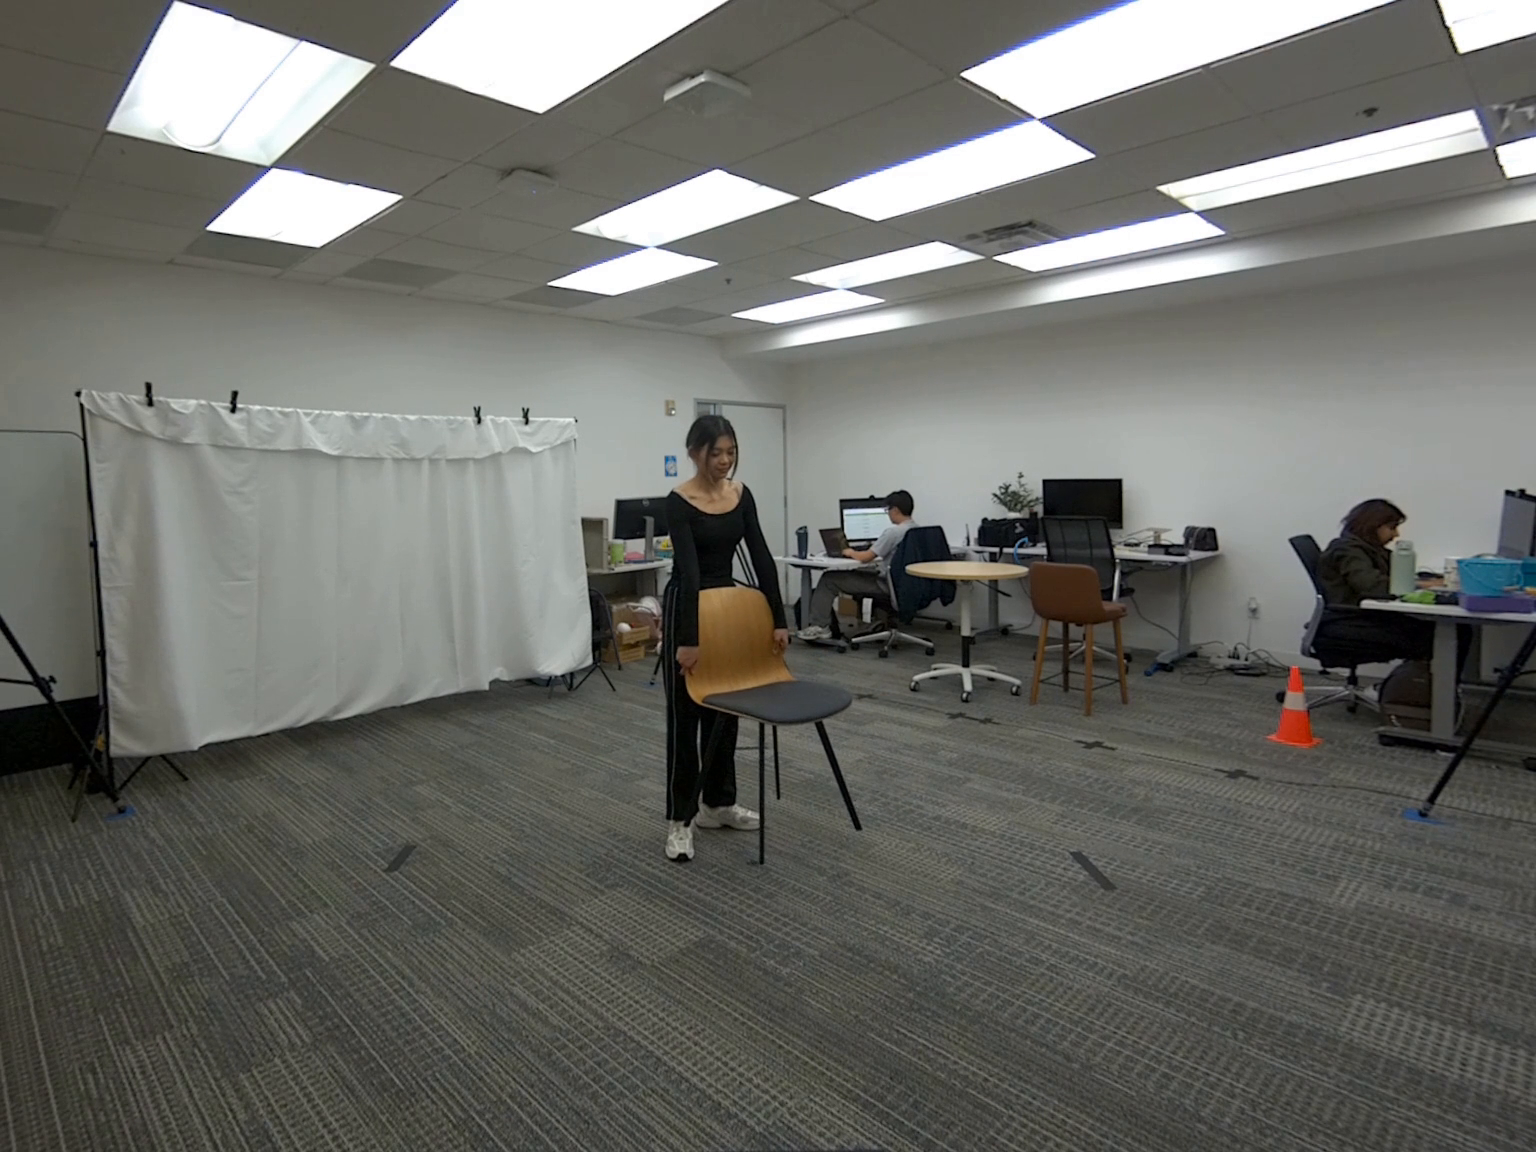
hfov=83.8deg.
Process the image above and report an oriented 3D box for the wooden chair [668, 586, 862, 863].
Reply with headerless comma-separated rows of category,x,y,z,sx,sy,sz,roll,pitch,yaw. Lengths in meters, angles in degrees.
wooden chair,0.003,0.479,3.022,0.465,0.879,0.536,-3,-2,-37
